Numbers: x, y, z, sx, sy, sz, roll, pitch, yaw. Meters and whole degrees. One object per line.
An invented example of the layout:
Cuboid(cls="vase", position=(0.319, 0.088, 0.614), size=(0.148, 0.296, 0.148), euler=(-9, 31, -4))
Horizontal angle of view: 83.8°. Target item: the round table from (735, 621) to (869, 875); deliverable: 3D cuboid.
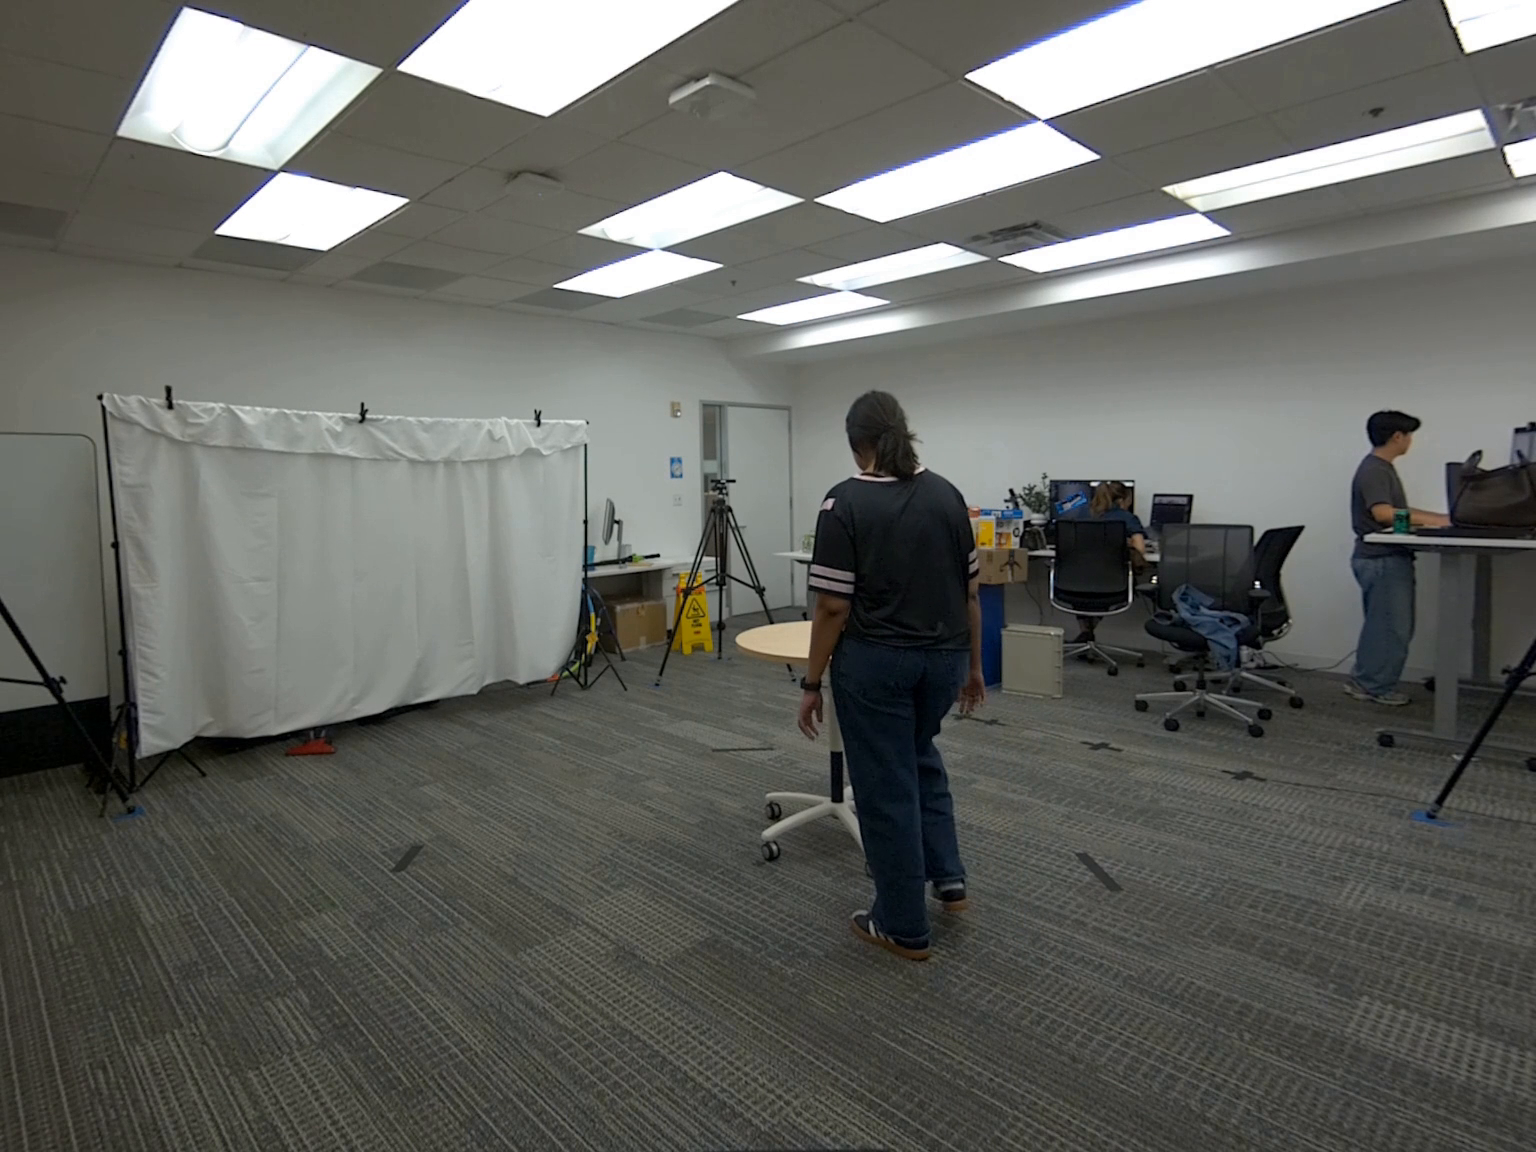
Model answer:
Cuboid(cls="round table", position=(0.273, 0.630, 3.308), size=(0.763, 0.791, 0.768), euler=(-2, 4, -2))
